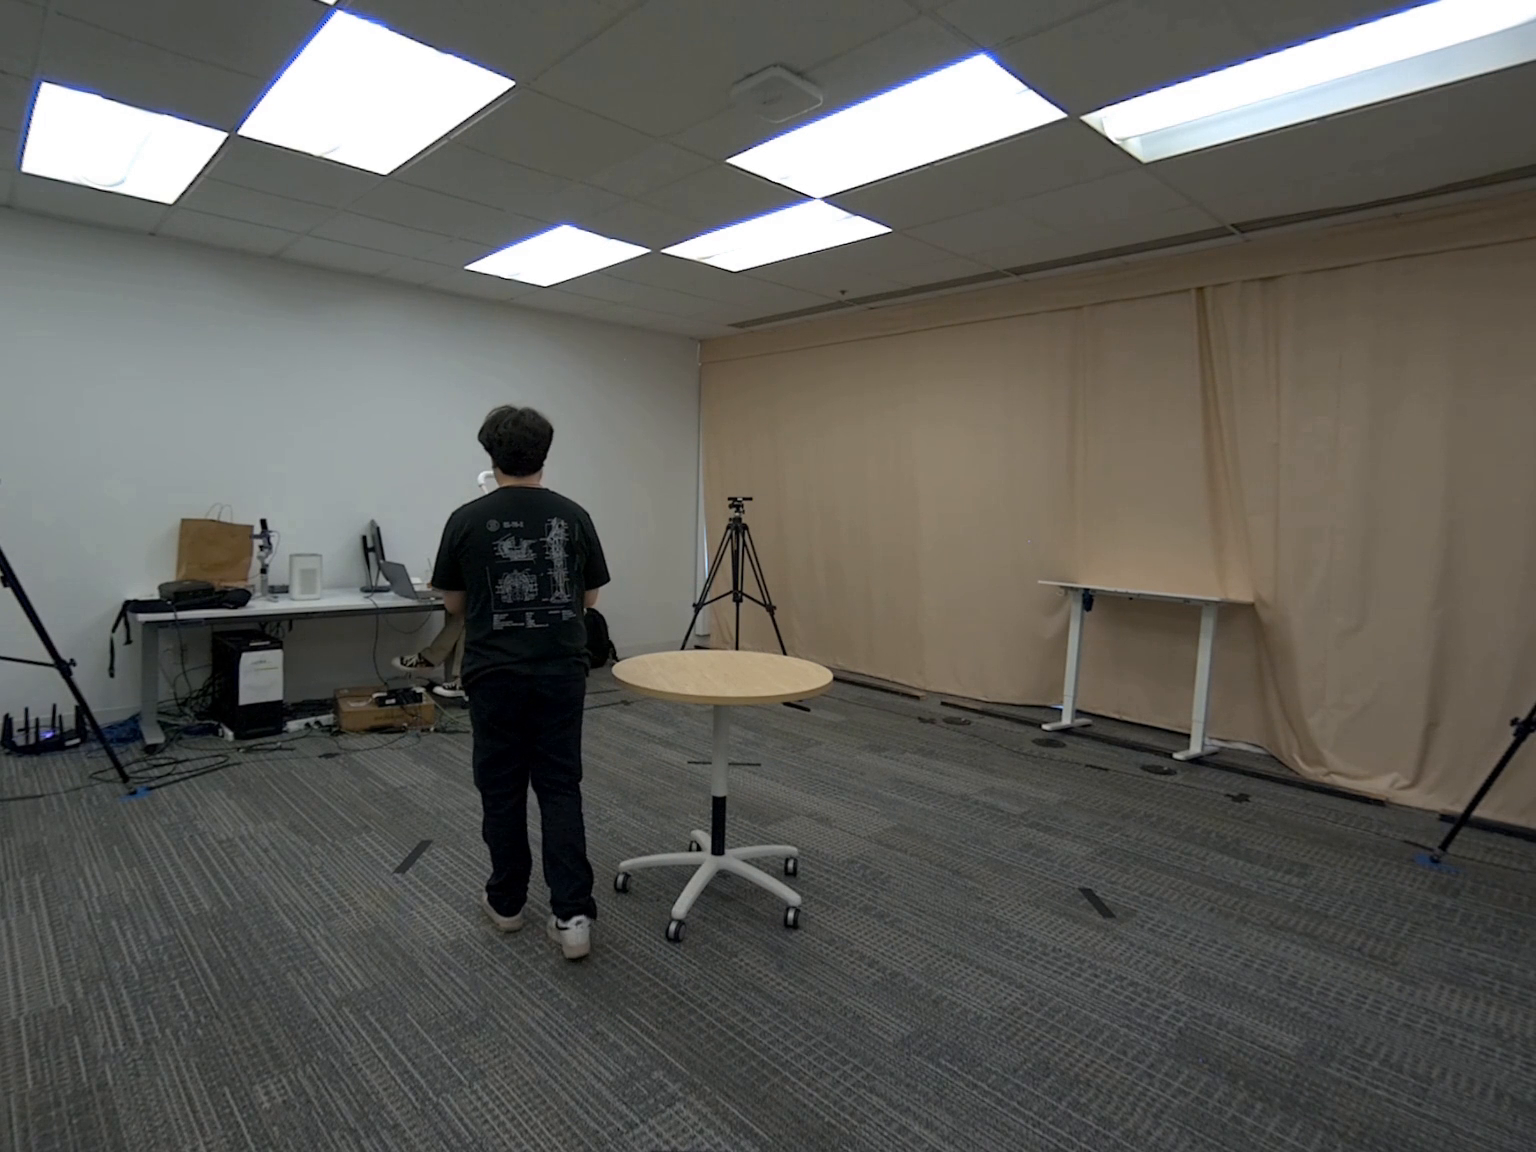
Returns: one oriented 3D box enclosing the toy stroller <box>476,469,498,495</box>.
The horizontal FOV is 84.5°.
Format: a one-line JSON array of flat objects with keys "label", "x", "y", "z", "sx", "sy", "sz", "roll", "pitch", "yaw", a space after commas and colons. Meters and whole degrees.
[{"label": "toy stroller", "x": -0.918, "y": -0.105, "z": 3.098, "sx": 0.351, "sy": 0.533, "sz": 0.275, "roll": 11, "pitch": 8, "yaw": 42}]
